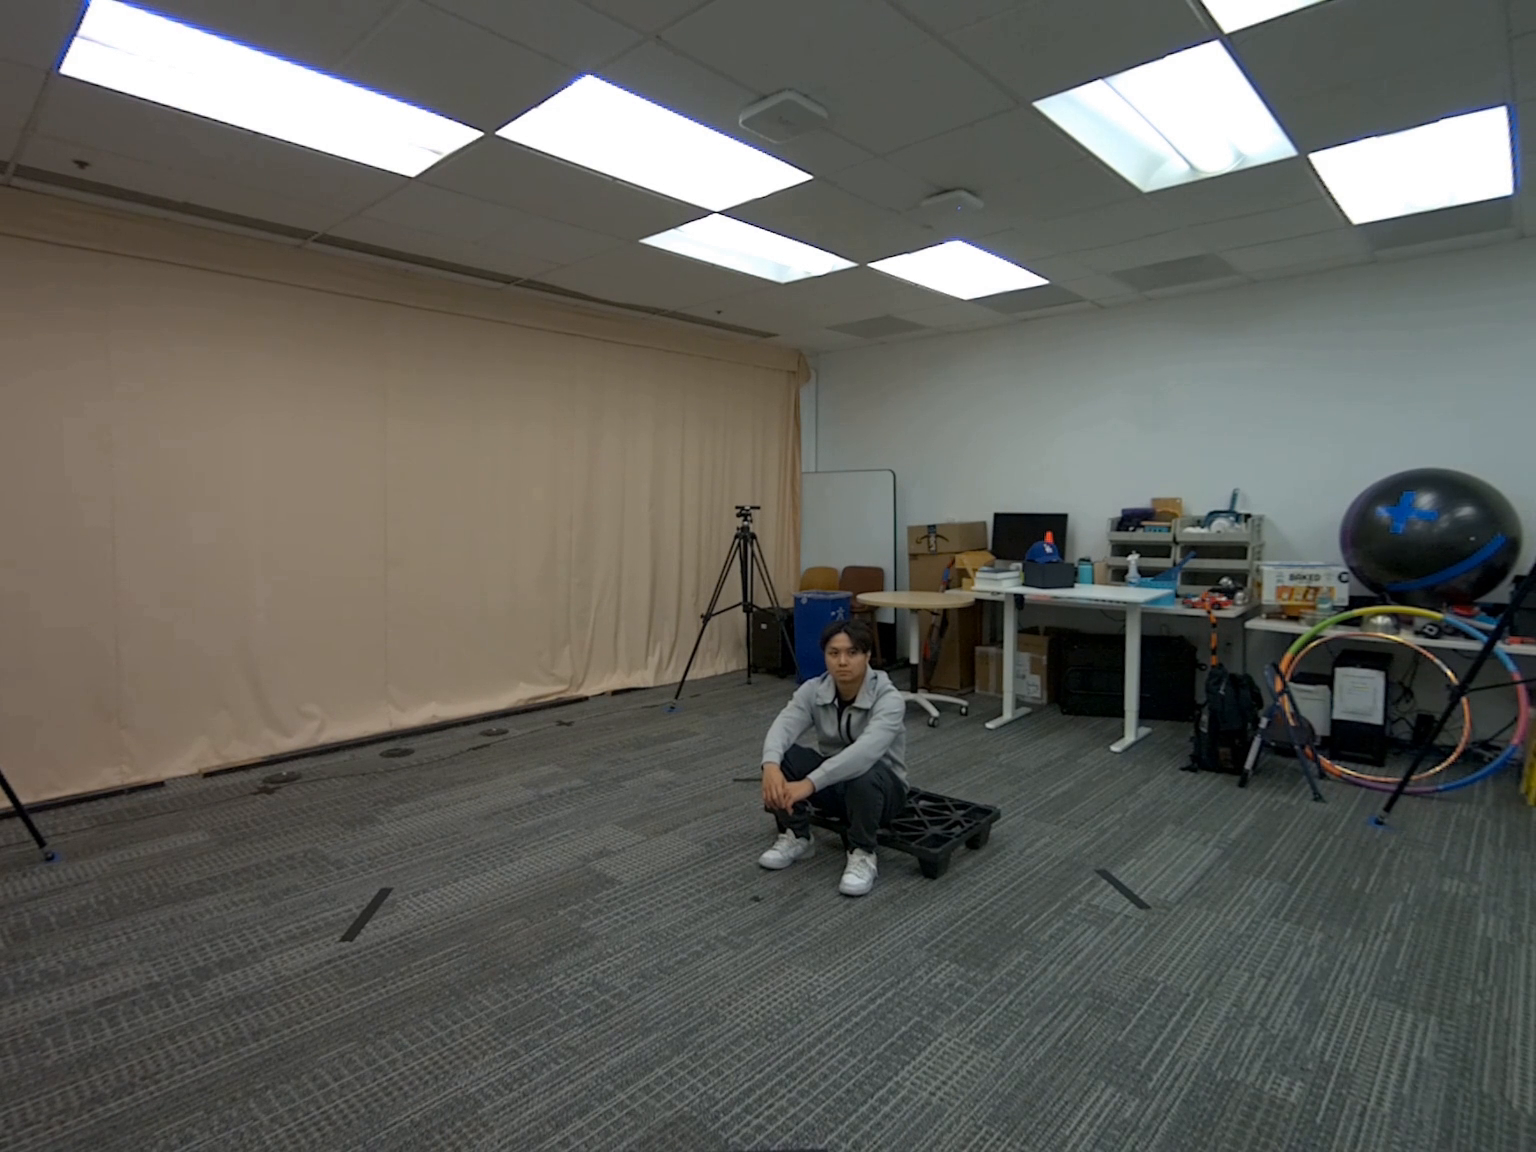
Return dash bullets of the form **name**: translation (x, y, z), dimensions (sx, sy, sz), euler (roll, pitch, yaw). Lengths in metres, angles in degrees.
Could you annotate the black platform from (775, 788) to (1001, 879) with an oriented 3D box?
- **black platform**: translation (0.476, 1.030, 3.533), dimensions (0.832, 0.143, 0.587), euler (4, 6, 39)
